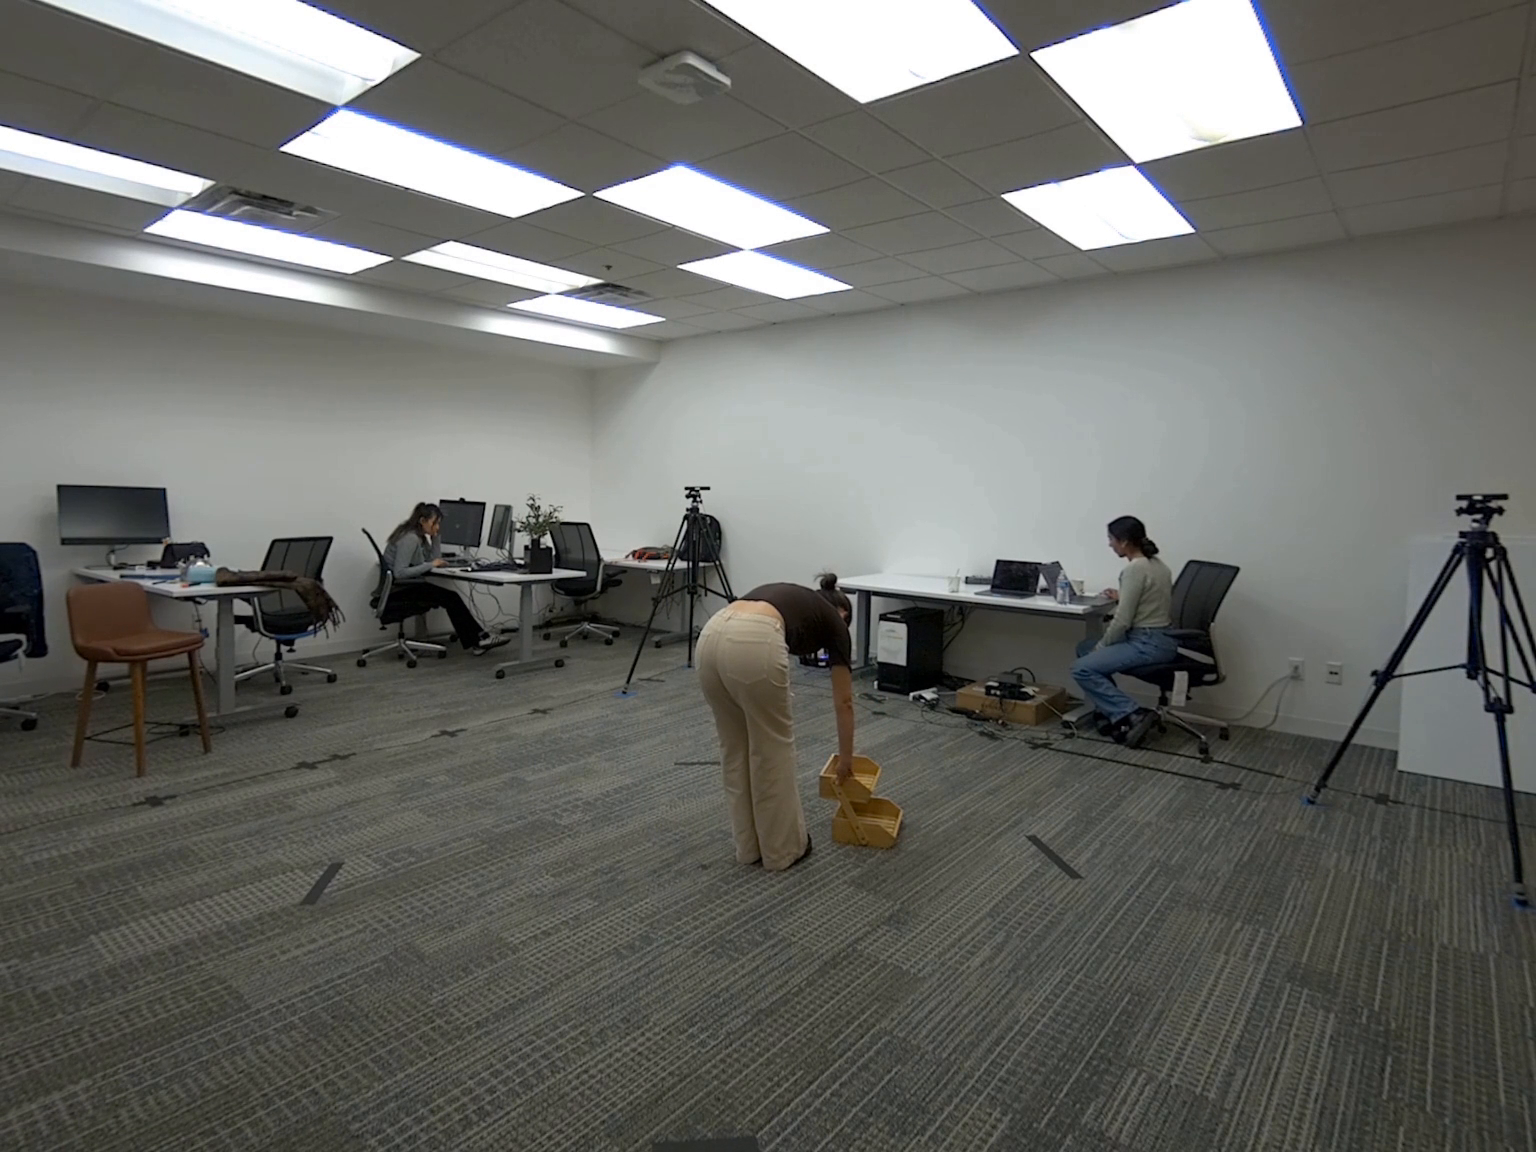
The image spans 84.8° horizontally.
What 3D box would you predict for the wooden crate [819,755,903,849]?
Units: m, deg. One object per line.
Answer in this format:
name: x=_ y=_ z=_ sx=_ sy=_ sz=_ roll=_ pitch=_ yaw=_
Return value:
wooden crate: x=0.378 y=0.902 z=3.478 sx=0.308 sy=0.272 sz=0.320 roll=1 pitch=5 yaw=17
